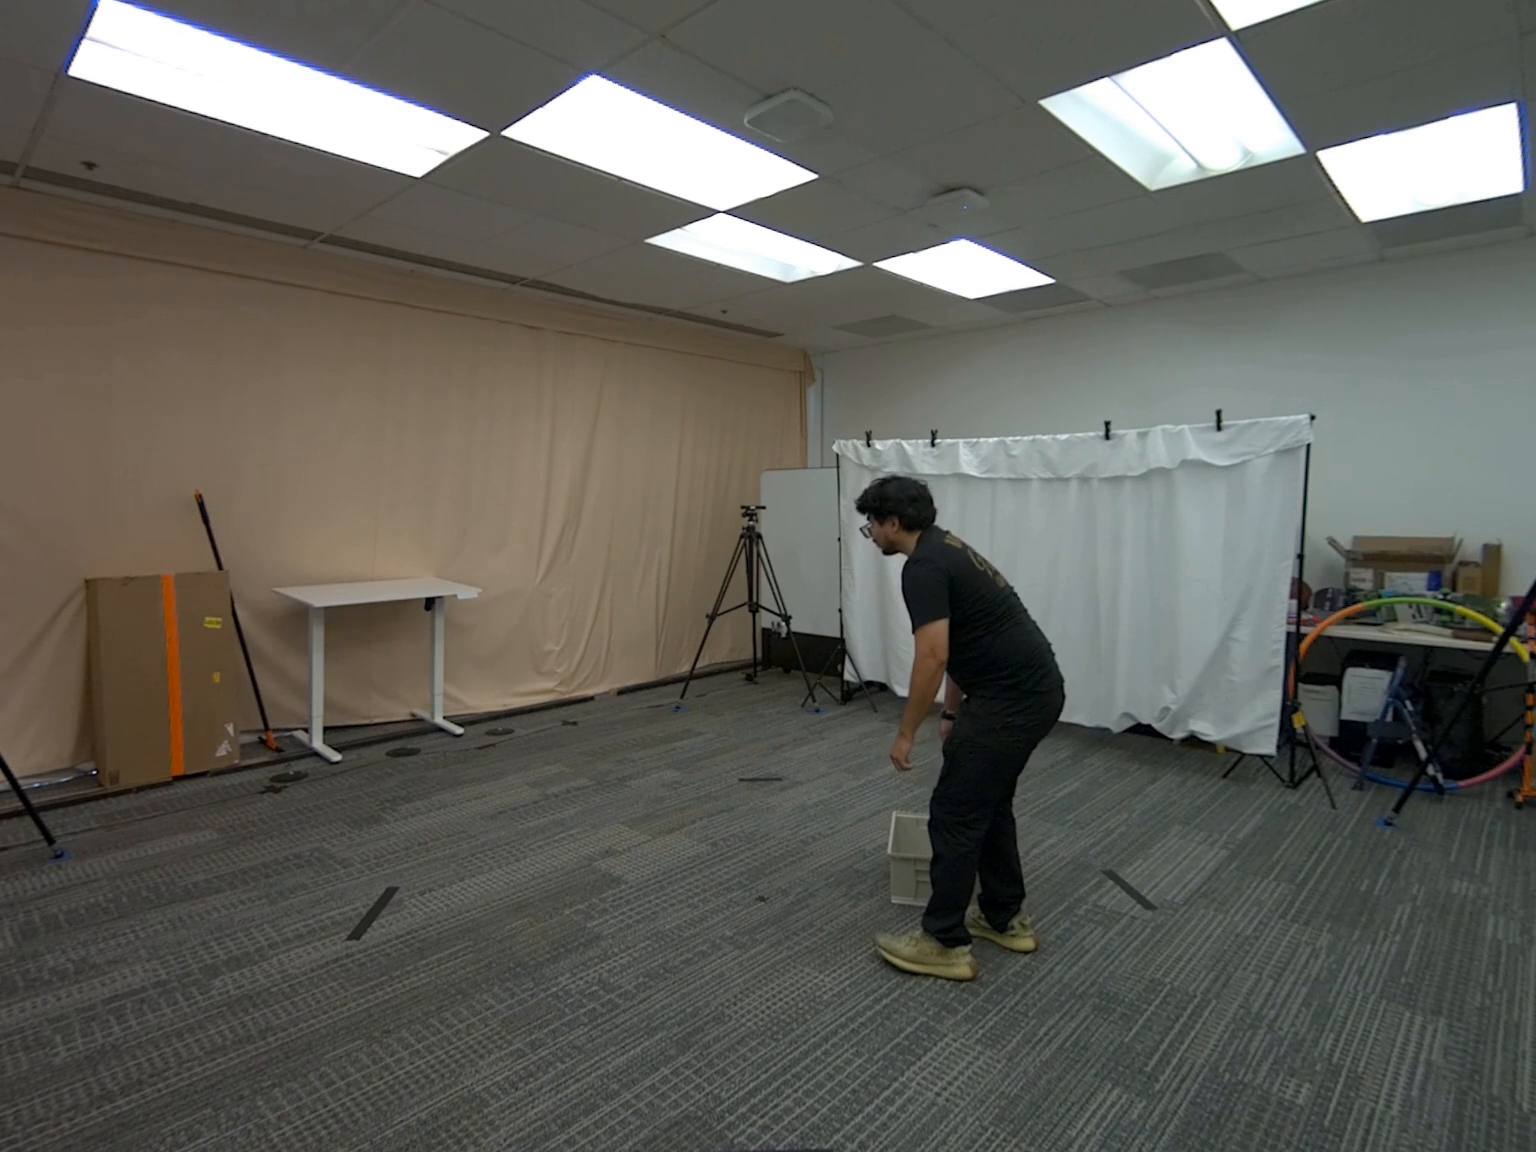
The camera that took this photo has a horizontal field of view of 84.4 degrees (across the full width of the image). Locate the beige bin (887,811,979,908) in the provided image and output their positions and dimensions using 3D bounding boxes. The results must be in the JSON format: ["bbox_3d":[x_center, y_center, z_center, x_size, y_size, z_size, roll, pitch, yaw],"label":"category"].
[{"bbox_3d":[0.650,1.044,3.100,0.383,0.188,0.417,0,5,12],"label":"beige bin"}]
